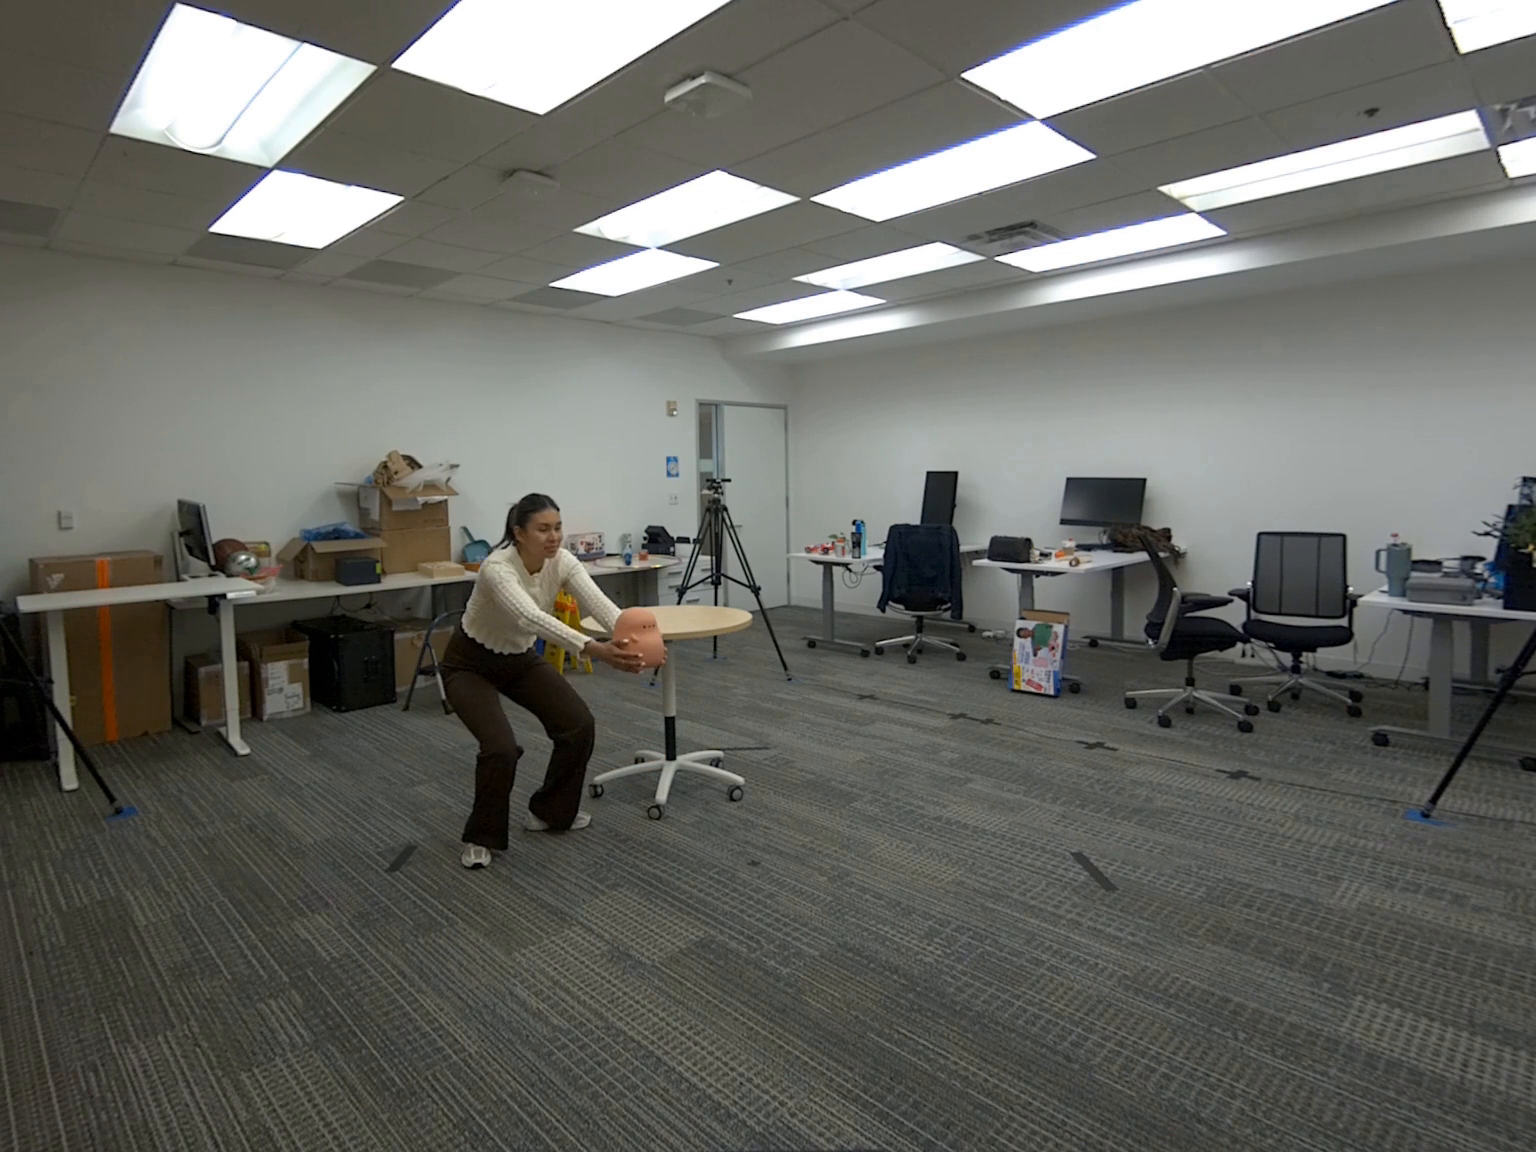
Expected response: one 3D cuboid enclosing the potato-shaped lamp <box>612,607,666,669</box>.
[{"bbox_3d":[-0.426,0.200,2.827,0.160,0.197,0.177,-6,9,-44],"label":"potato-shaped lamp"}]
